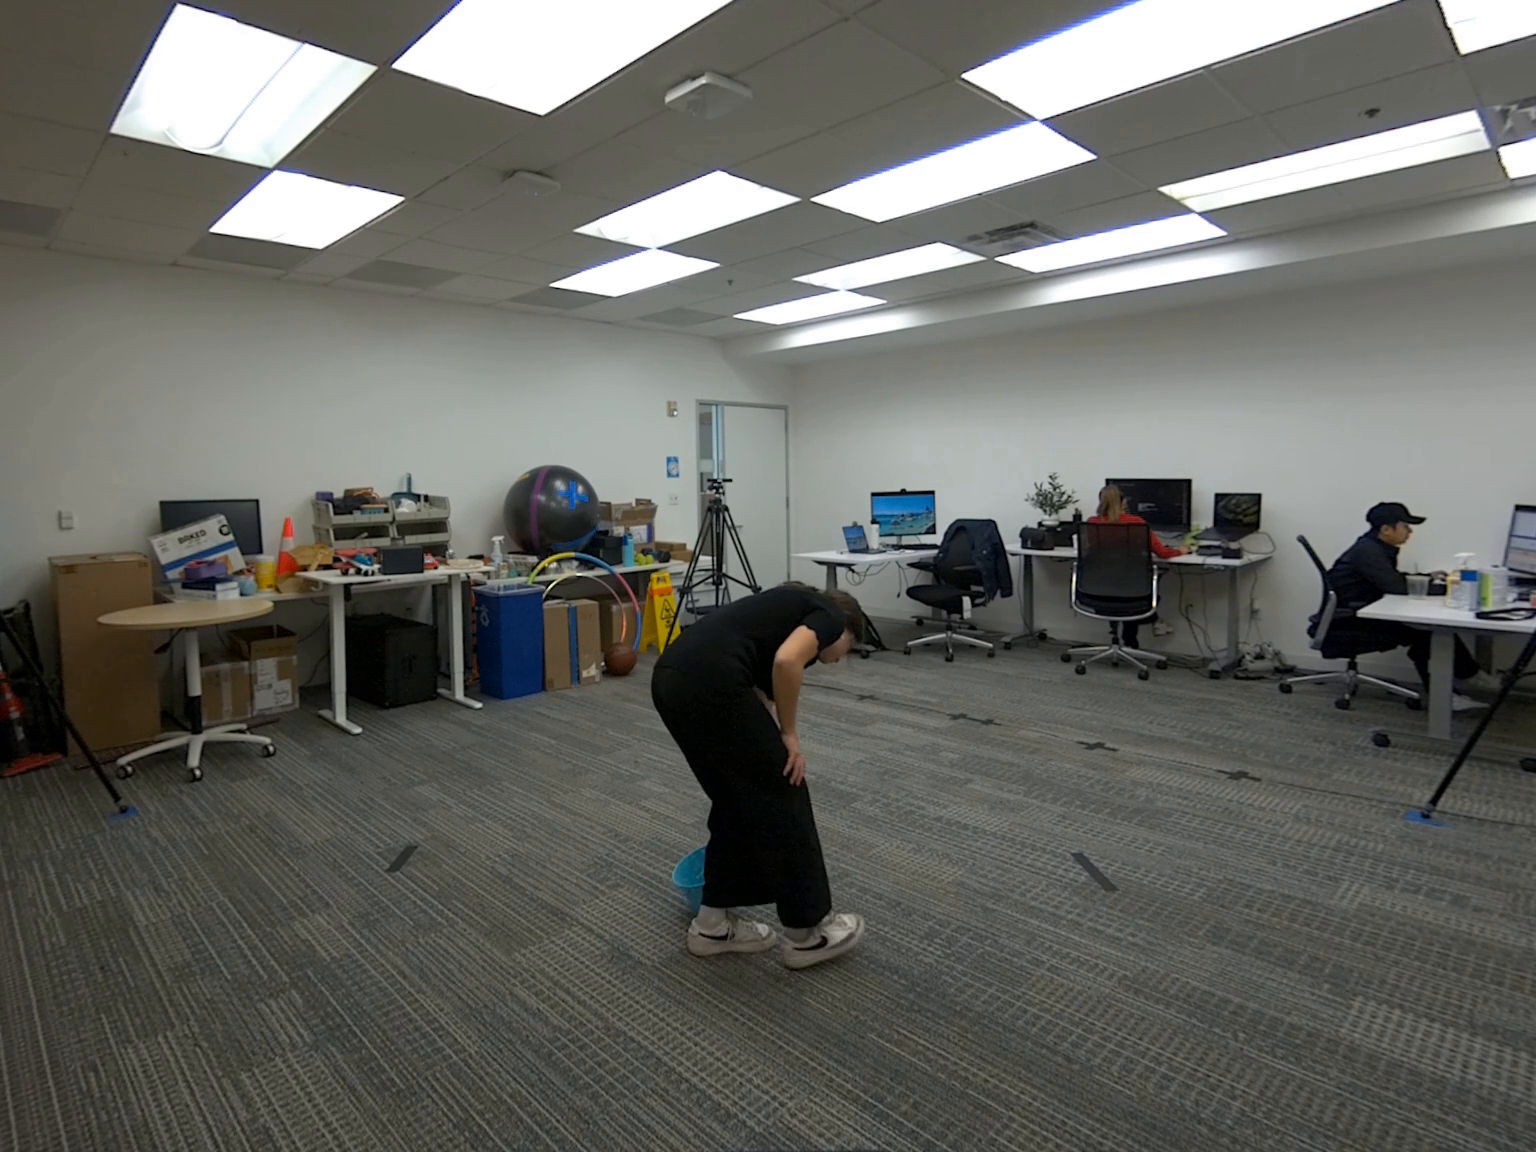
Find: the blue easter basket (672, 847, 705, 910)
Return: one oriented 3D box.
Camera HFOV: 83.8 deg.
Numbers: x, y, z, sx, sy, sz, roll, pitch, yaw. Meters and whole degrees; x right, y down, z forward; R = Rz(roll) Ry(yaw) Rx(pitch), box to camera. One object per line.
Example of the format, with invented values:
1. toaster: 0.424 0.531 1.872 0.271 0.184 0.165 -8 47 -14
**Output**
1. blue easter basket: -0.168 0.989 2.728 0.244 0.154 0.246 -21 11 2
